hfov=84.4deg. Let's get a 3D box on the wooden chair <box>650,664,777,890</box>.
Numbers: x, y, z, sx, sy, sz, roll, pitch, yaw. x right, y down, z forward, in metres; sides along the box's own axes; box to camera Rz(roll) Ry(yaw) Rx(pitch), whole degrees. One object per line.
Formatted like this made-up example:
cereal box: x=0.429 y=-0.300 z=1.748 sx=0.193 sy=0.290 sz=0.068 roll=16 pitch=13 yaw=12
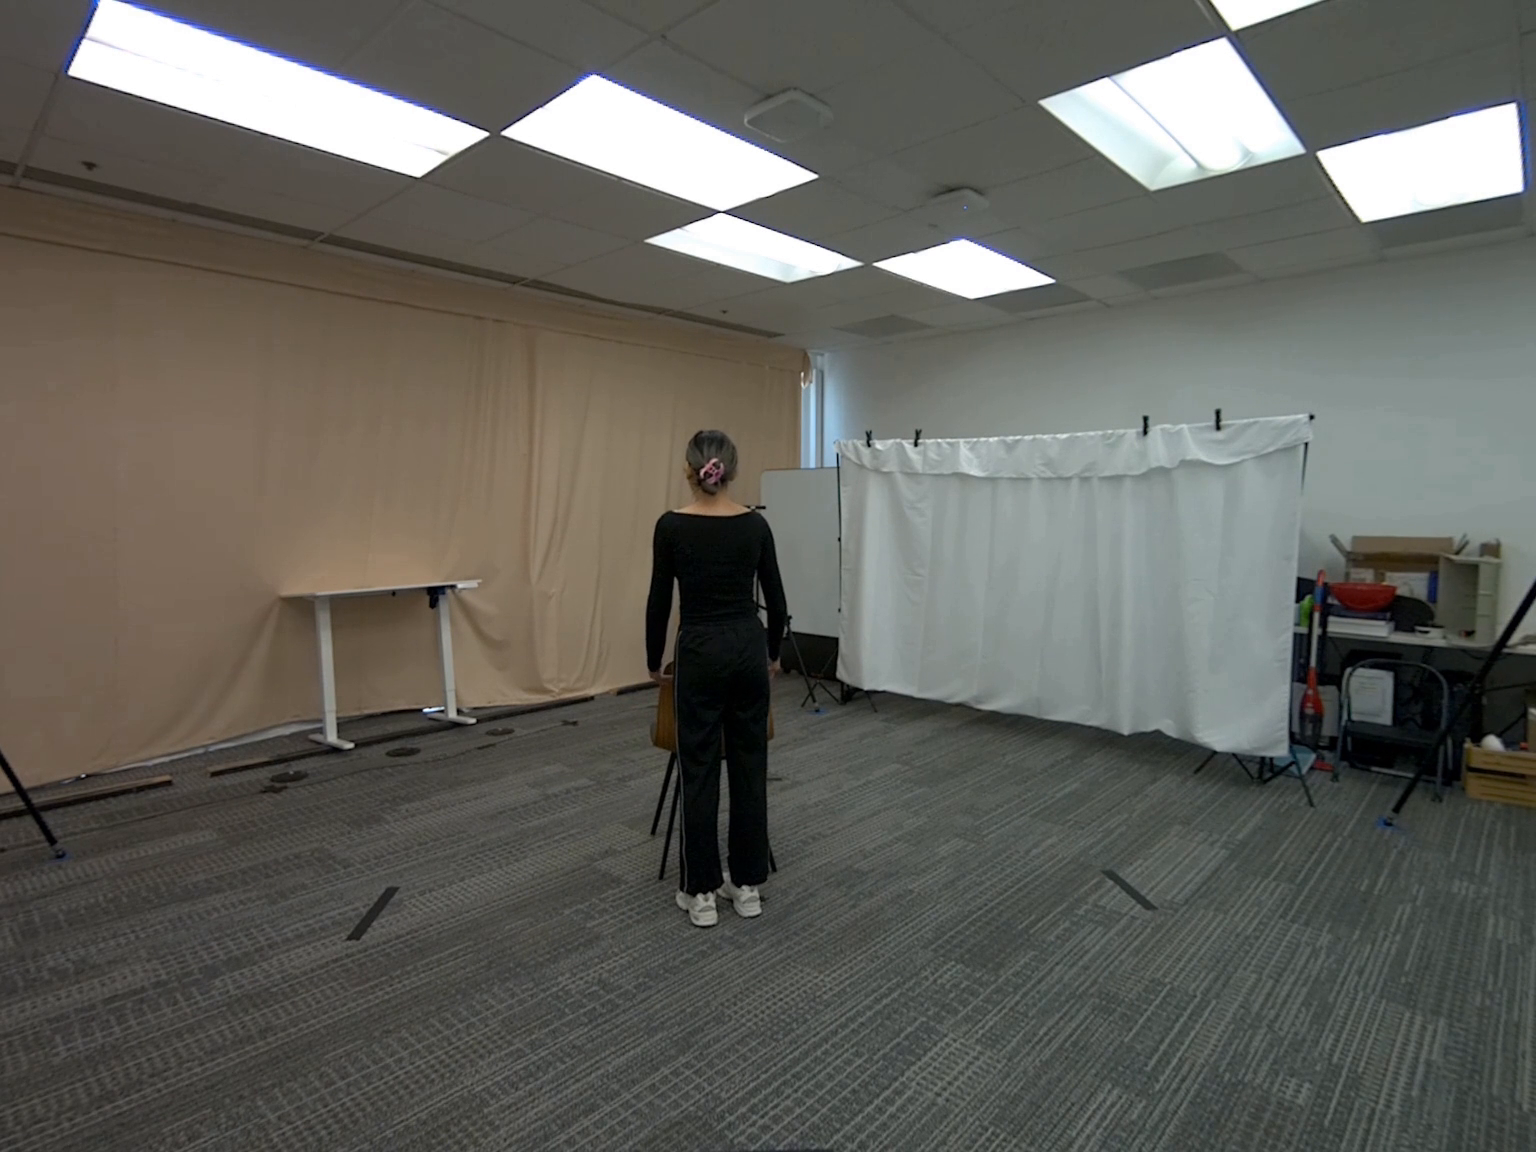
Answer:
wooden chair: x=-0.241 y=0.683 z=3.367 sx=0.474 sy=0.873 sz=0.531 roll=-2 pitch=7 yaw=-10
